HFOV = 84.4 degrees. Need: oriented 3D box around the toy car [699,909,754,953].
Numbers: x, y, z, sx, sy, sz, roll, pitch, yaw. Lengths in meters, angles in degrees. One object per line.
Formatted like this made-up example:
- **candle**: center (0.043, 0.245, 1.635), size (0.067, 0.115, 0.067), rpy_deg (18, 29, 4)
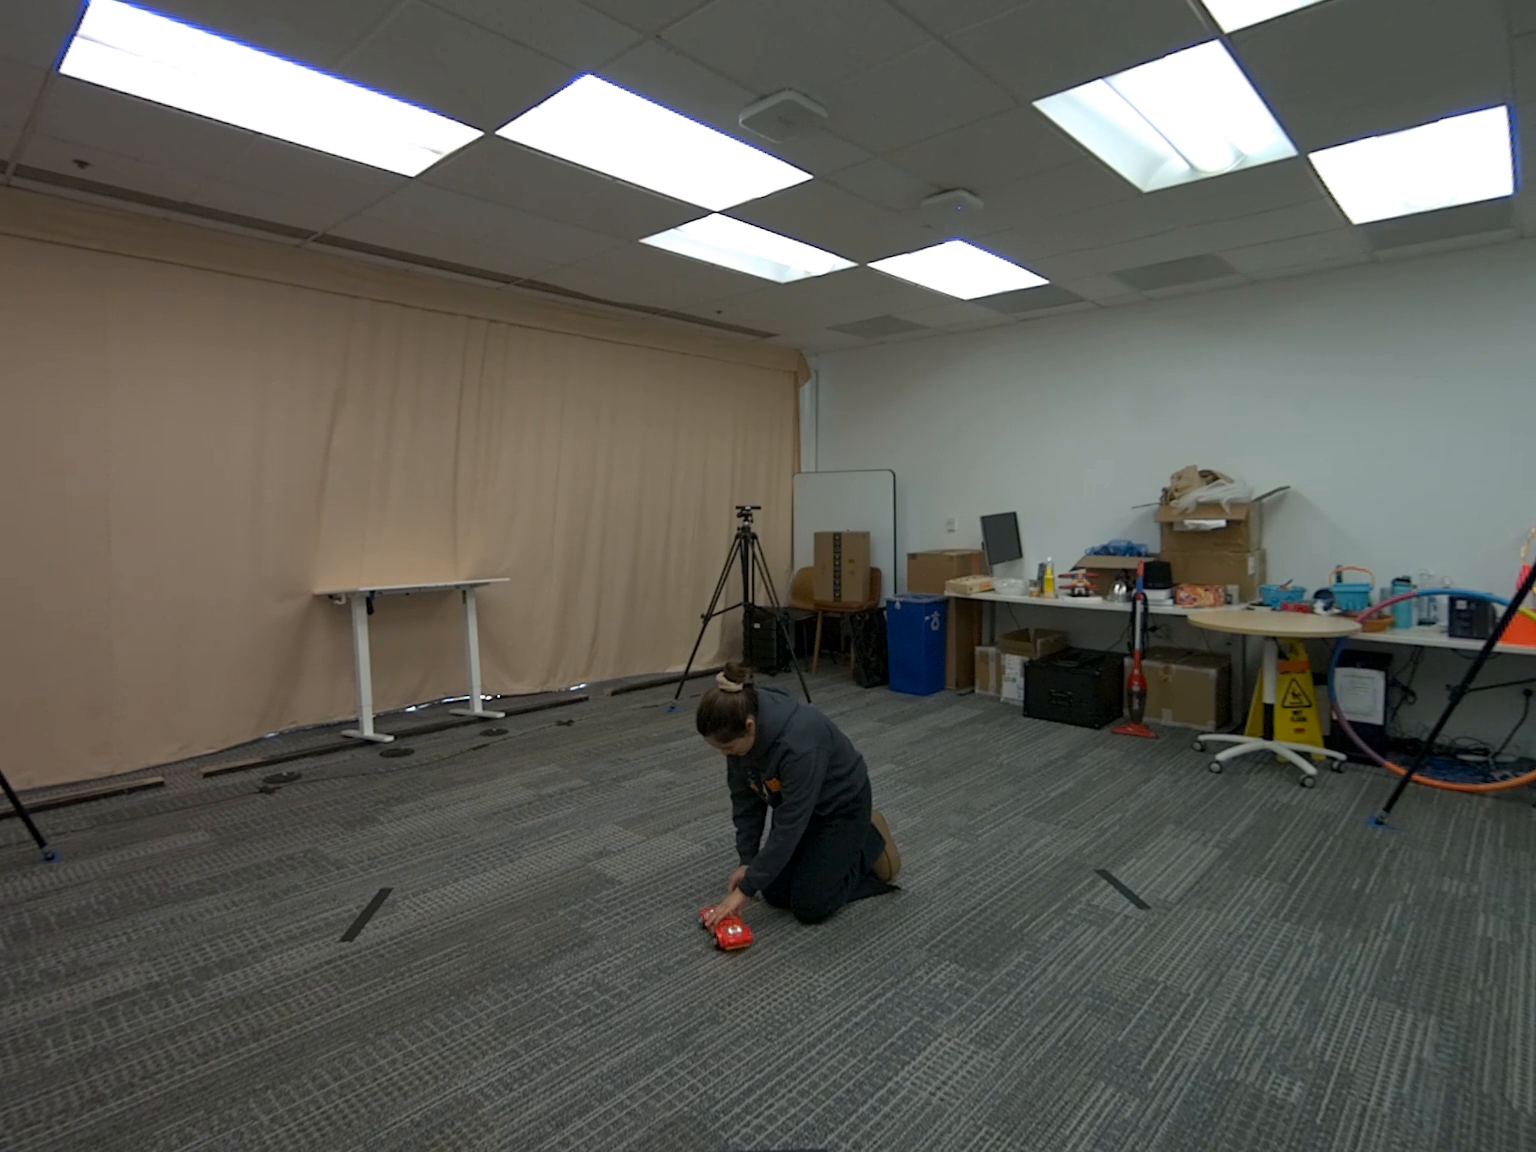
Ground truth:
- **toy car**: center (-0.109, 1.135, 2.706), size (0.128, 0.083, 0.258), rpy_deg (-1, -6, -20)
